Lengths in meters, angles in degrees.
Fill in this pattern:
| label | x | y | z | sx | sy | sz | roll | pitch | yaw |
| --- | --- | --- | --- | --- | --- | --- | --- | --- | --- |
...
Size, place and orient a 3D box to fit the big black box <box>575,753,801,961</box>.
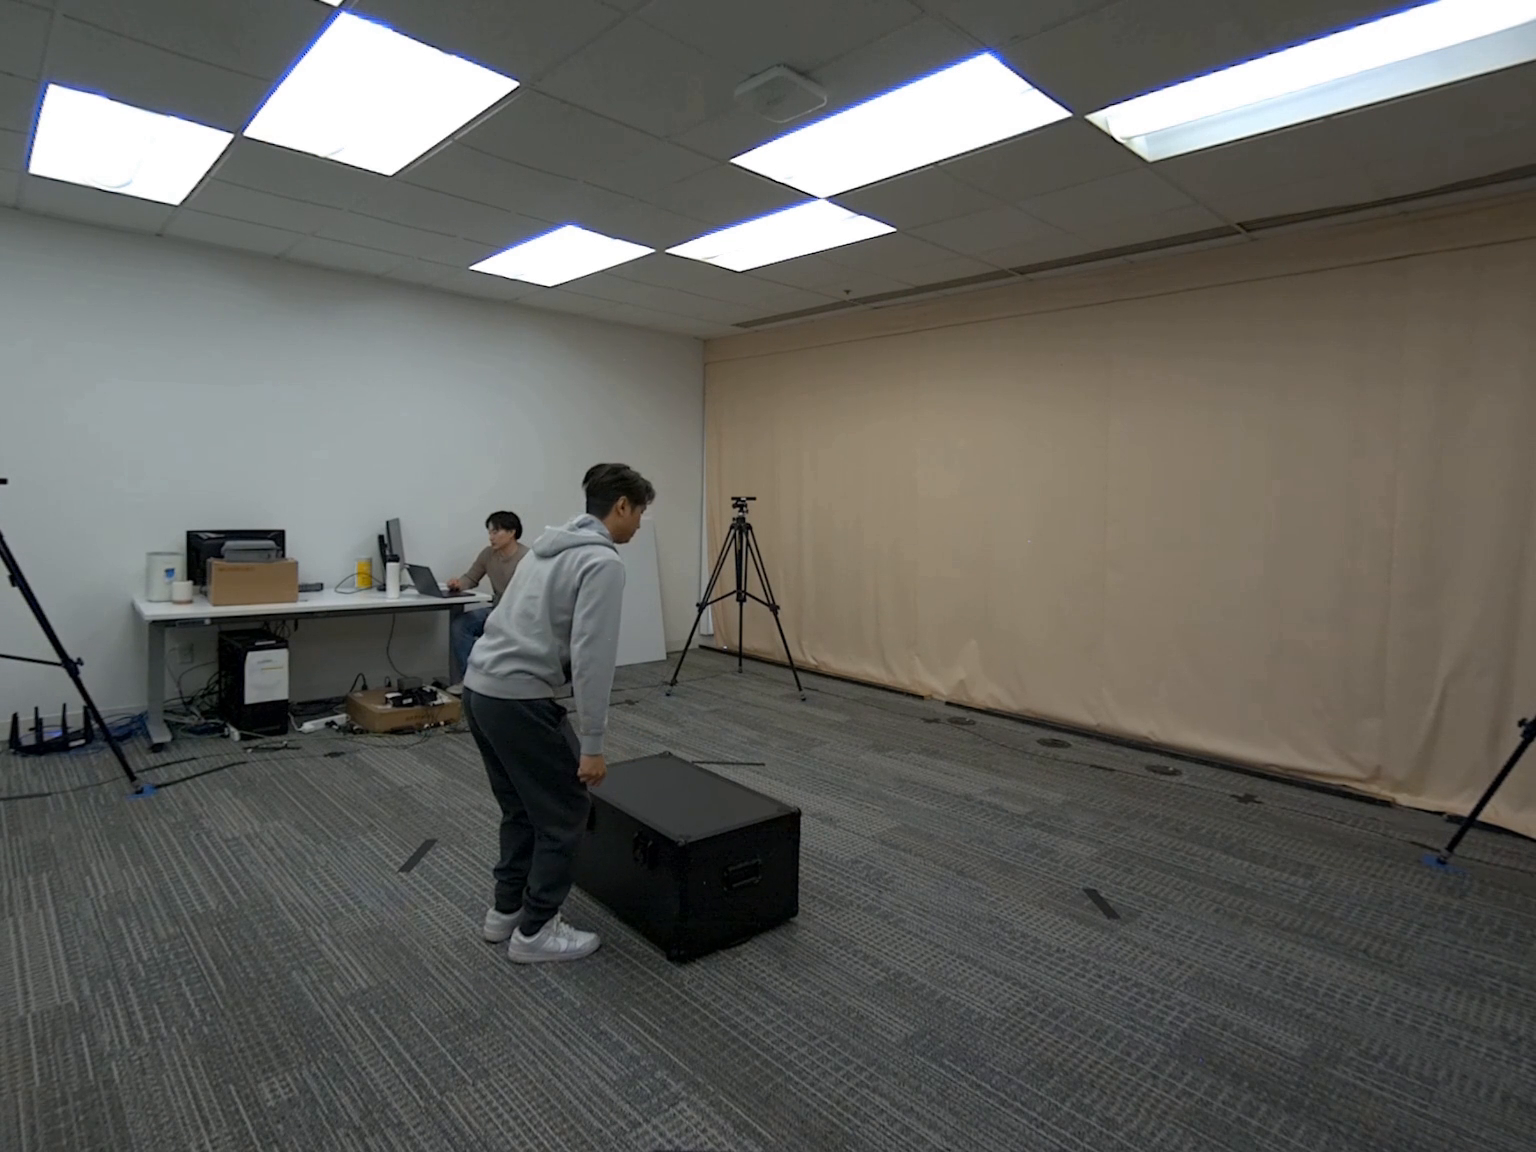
| label | x | y | z | sx | sy | sz | roll | pitch | yaw |
| --- | --- | --- | --- | --- | --- | --- | --- | --- | --- |
| big black box | -0.353 | 0.928 | 2.942 | 0.509 | 0.395 | 0.884 | -3 | 7 | -40 |
